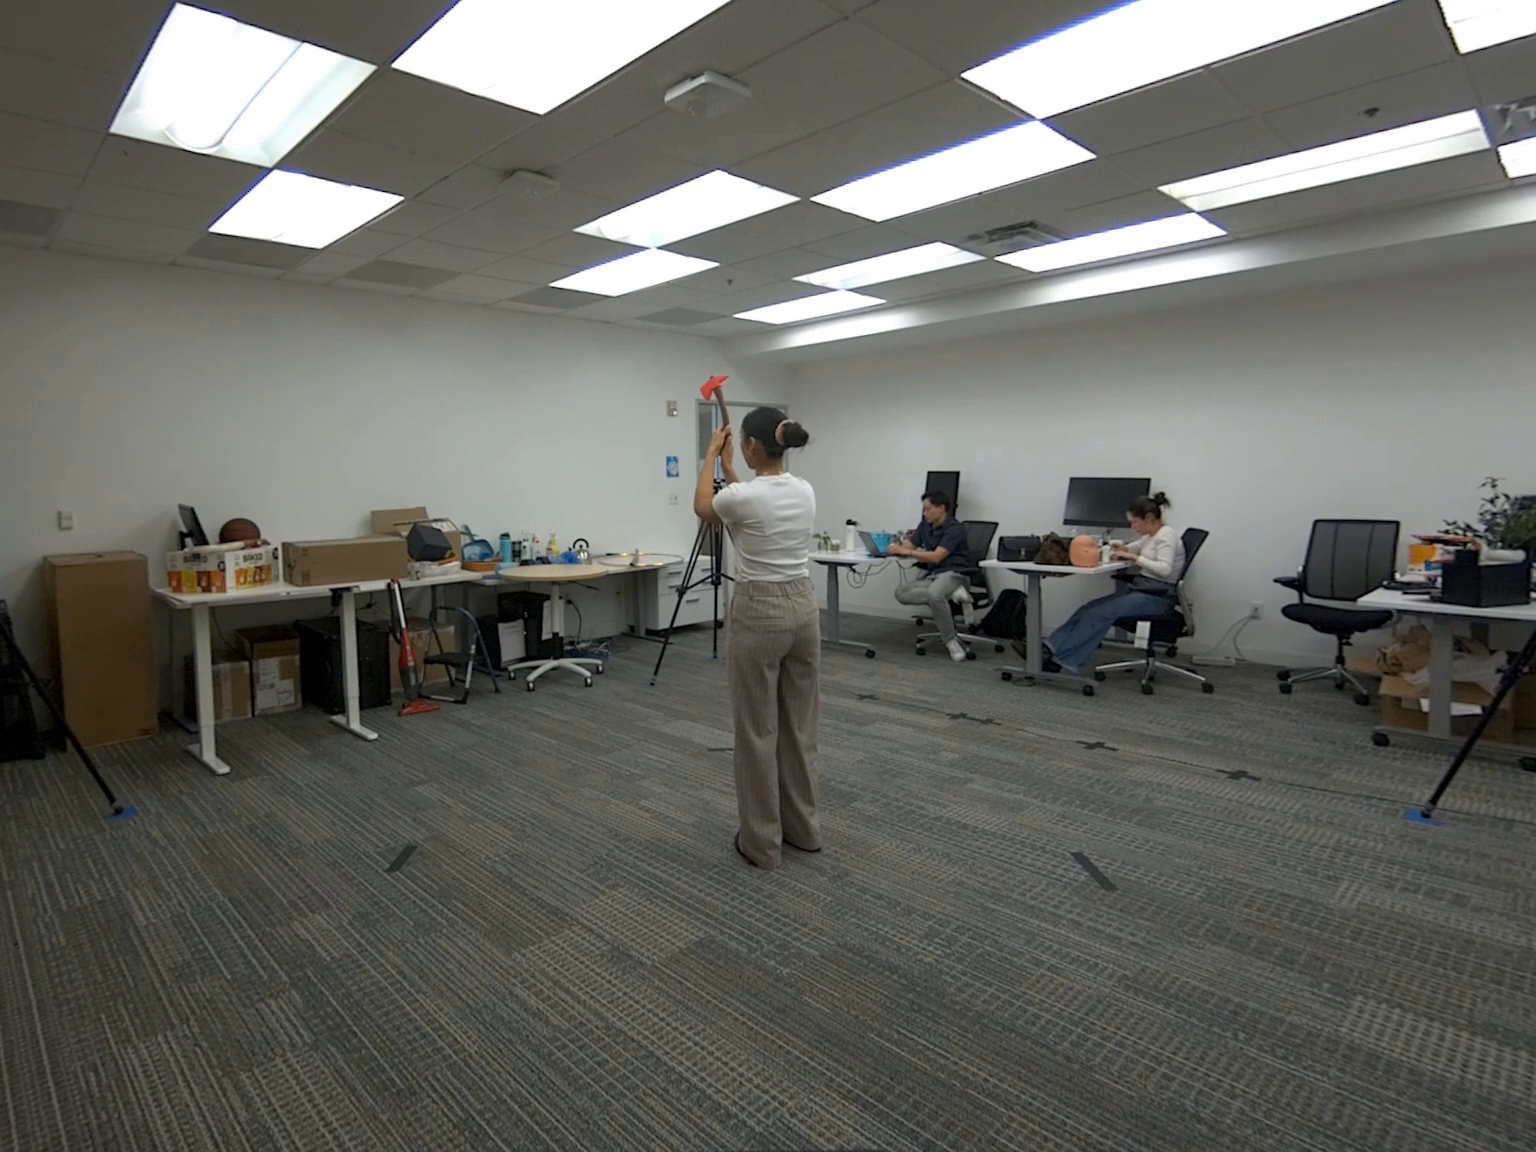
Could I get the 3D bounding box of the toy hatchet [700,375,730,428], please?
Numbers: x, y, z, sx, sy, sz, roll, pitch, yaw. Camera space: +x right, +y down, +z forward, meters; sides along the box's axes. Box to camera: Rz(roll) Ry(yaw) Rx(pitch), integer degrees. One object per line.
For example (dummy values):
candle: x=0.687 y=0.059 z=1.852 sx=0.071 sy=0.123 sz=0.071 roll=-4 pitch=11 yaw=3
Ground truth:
toy hatchet: x=-0.206 y=-0.653 z=3.344 sx=0.134 sy=0.271 sz=0.029 roll=-2 pitch=-5 yaw=24
